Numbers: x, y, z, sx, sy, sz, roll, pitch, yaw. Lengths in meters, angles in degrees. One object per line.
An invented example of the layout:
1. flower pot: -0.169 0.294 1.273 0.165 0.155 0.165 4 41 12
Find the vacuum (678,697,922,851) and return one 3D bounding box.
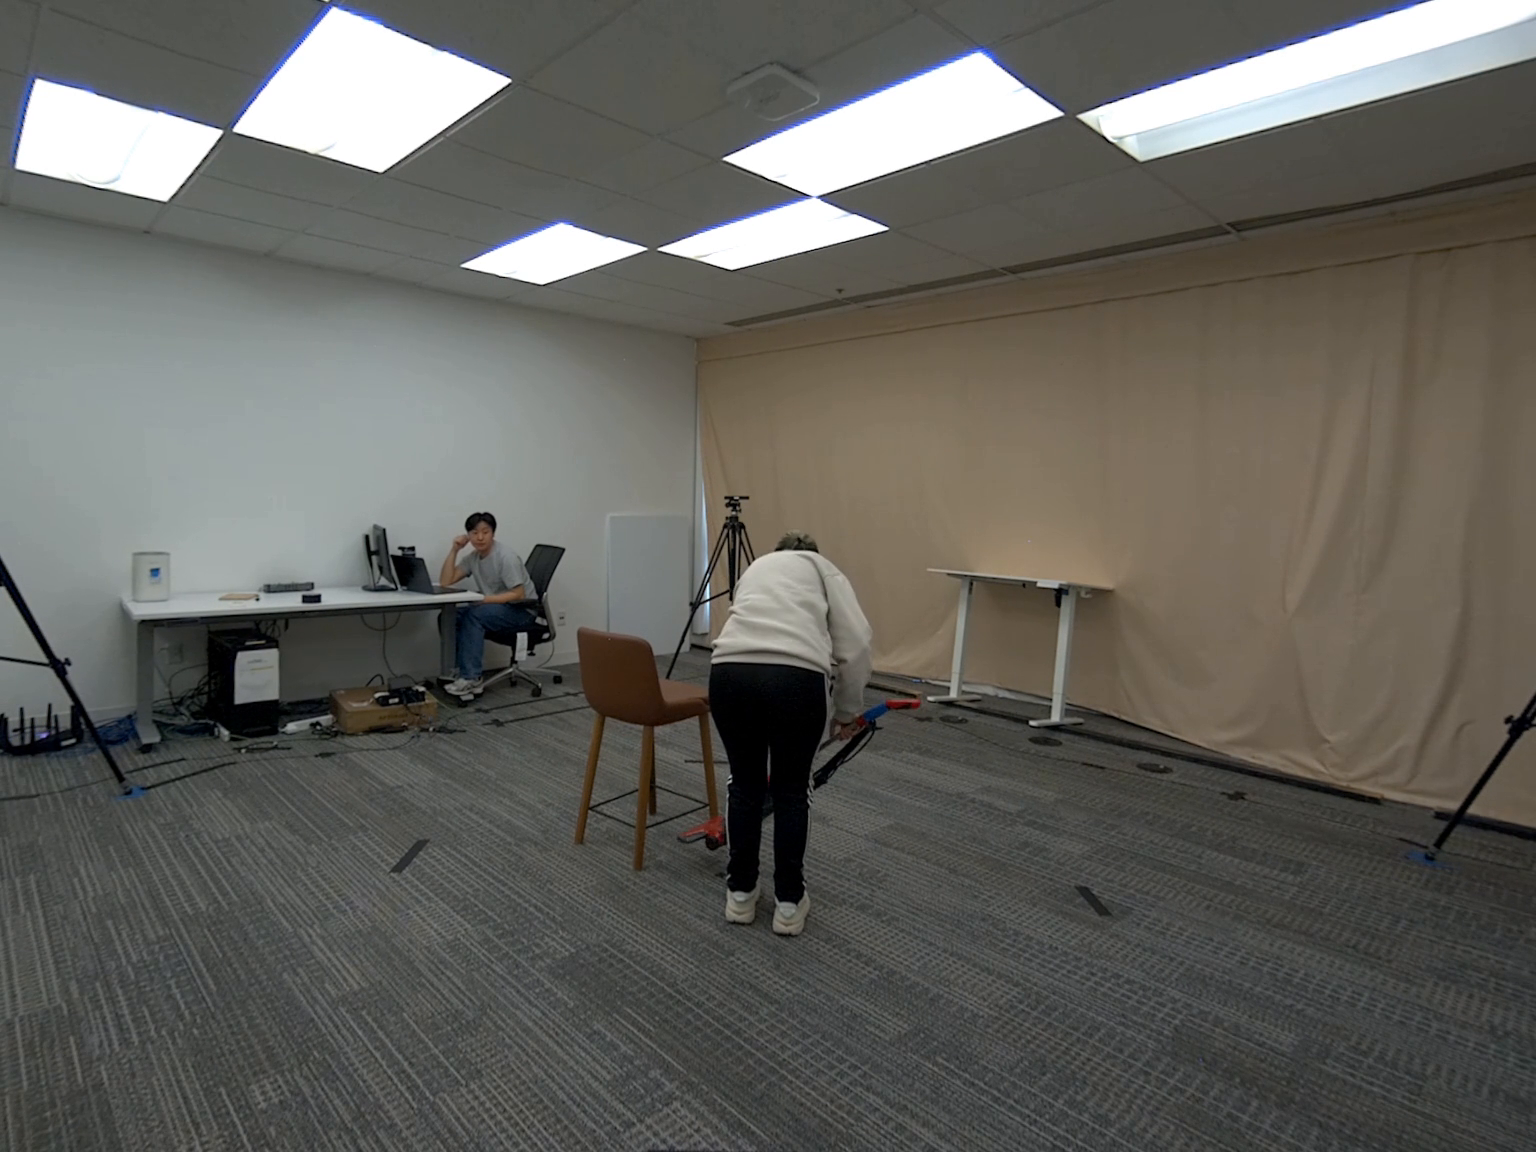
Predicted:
1. vacuum: 0.109 0.691 2.893 1.051 0.147 0.247 -42 -20 31
